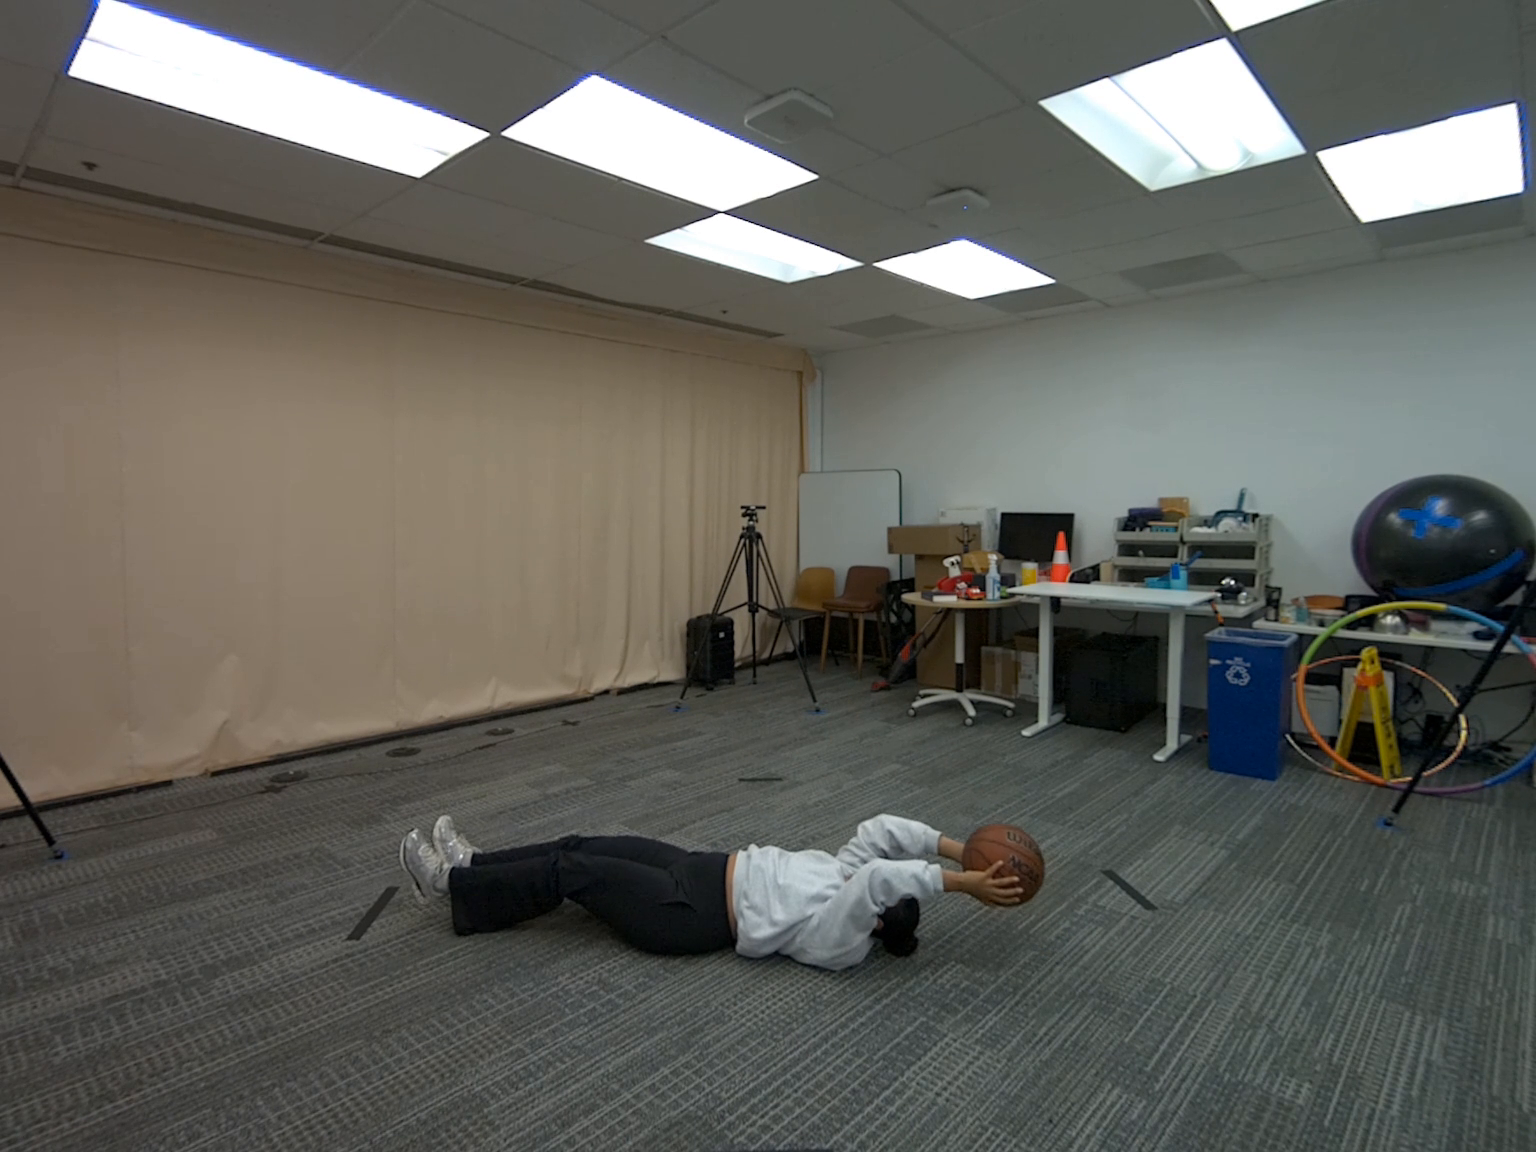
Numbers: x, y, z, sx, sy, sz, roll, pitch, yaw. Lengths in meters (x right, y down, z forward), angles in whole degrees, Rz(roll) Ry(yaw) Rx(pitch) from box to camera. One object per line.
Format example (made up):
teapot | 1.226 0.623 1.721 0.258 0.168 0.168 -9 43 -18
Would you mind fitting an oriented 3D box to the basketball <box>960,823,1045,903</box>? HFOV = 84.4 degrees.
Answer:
basketball | 0.712 0.867 2.552 0.235 0.235 0.237 1 4 -2
